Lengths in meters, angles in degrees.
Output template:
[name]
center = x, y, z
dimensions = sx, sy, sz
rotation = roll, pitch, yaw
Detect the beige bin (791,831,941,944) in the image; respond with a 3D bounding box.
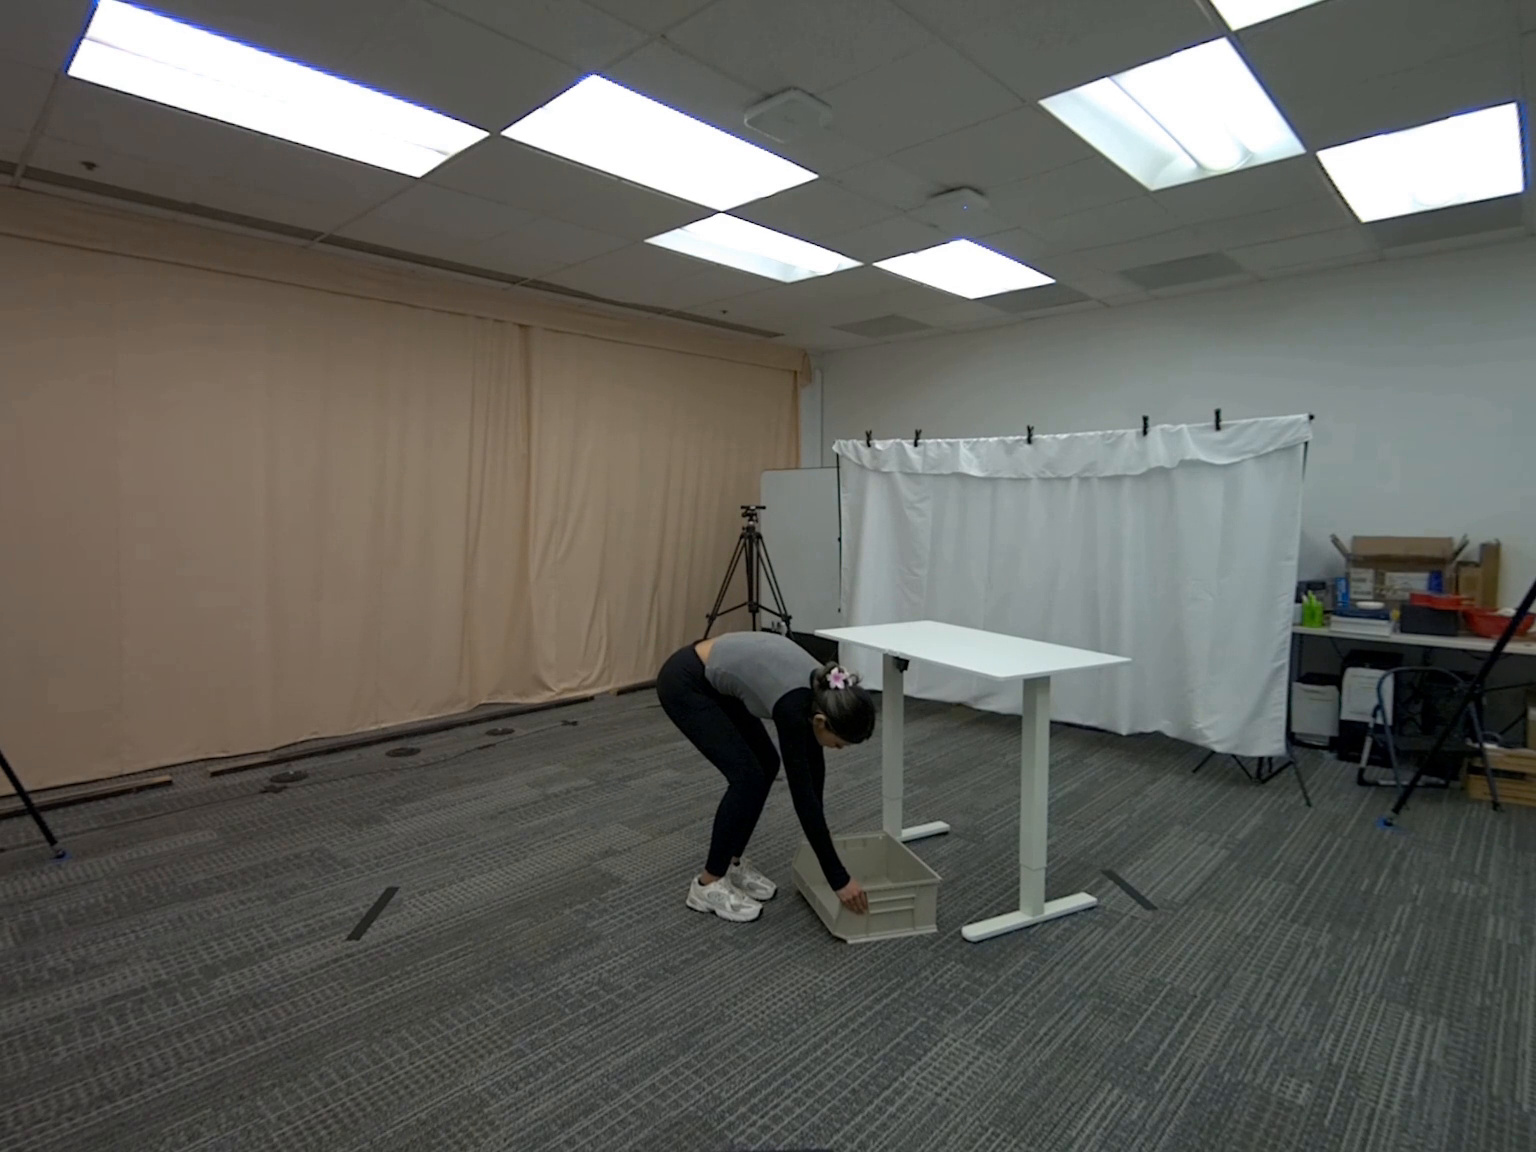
[beige bin]
center = 0.325, 1.058, 2.899
dimensions = 0.371, 0.189, 0.430
rotation = -1, 3, -16
